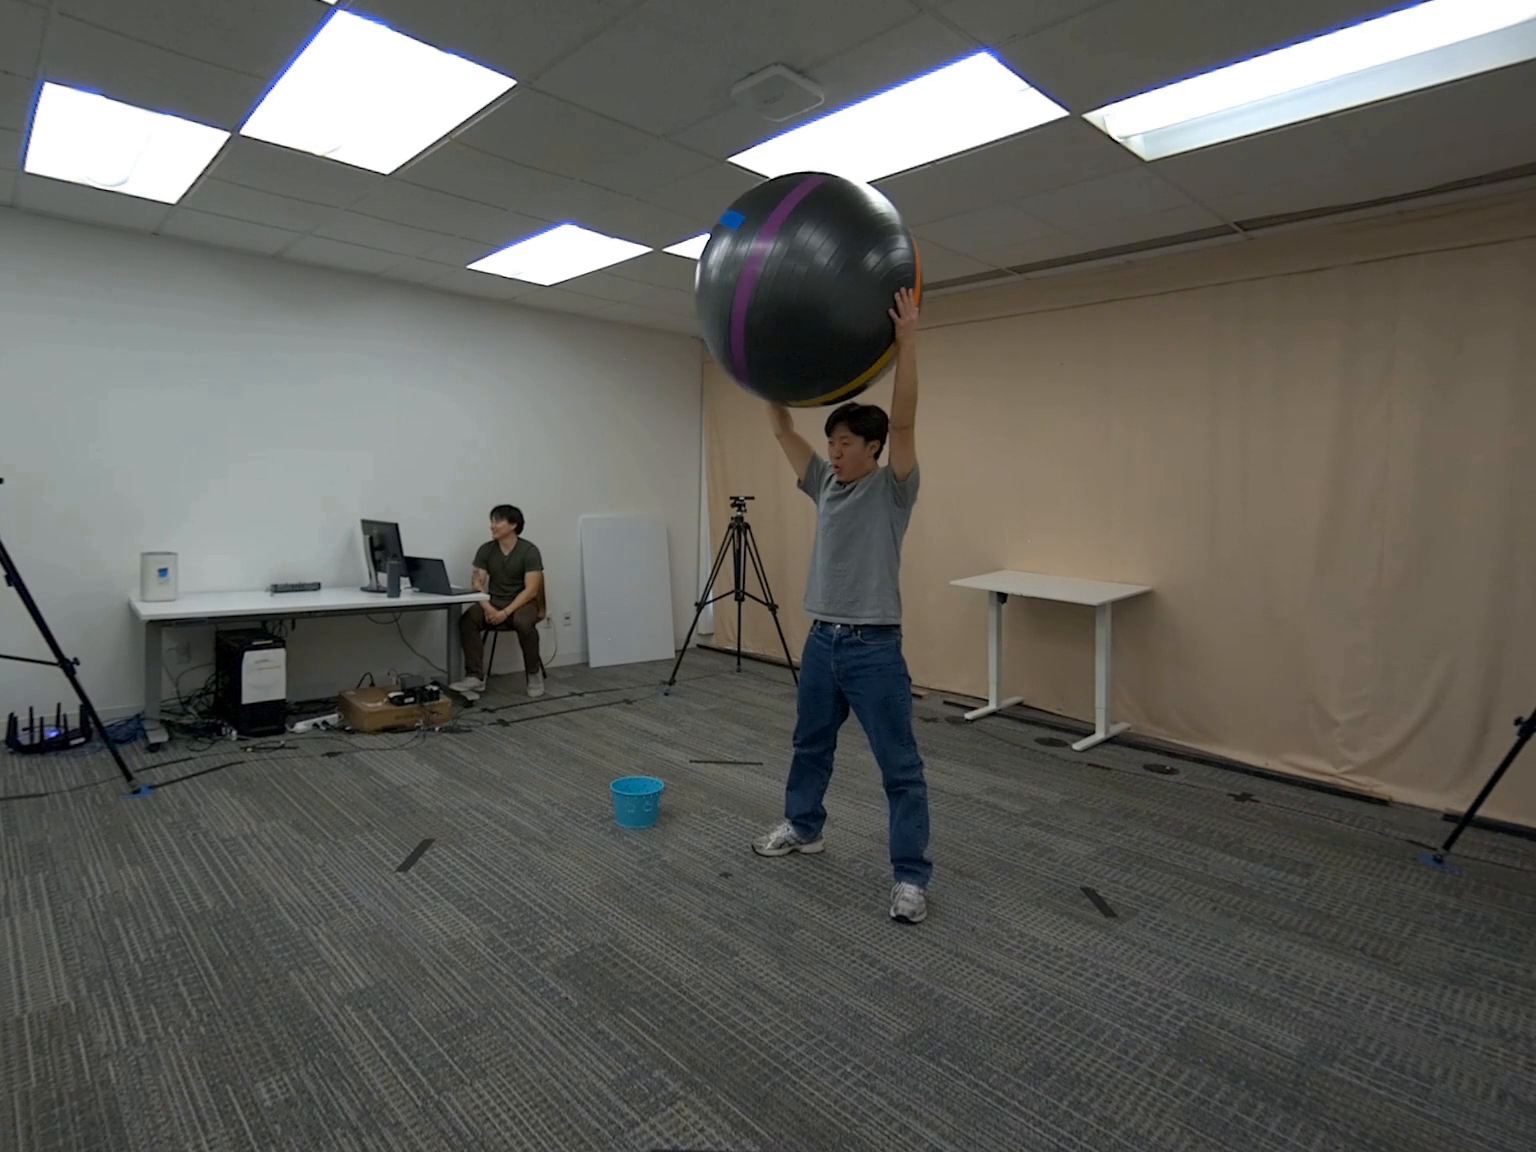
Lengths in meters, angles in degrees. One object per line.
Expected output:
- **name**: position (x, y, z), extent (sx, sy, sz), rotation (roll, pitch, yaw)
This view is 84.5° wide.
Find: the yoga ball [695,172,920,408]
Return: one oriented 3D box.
- **yoga ball**: position (0.111, -0.917, 2.810), extent (0.757, 0.756, 0.761), rotation (1, 4, -1)
